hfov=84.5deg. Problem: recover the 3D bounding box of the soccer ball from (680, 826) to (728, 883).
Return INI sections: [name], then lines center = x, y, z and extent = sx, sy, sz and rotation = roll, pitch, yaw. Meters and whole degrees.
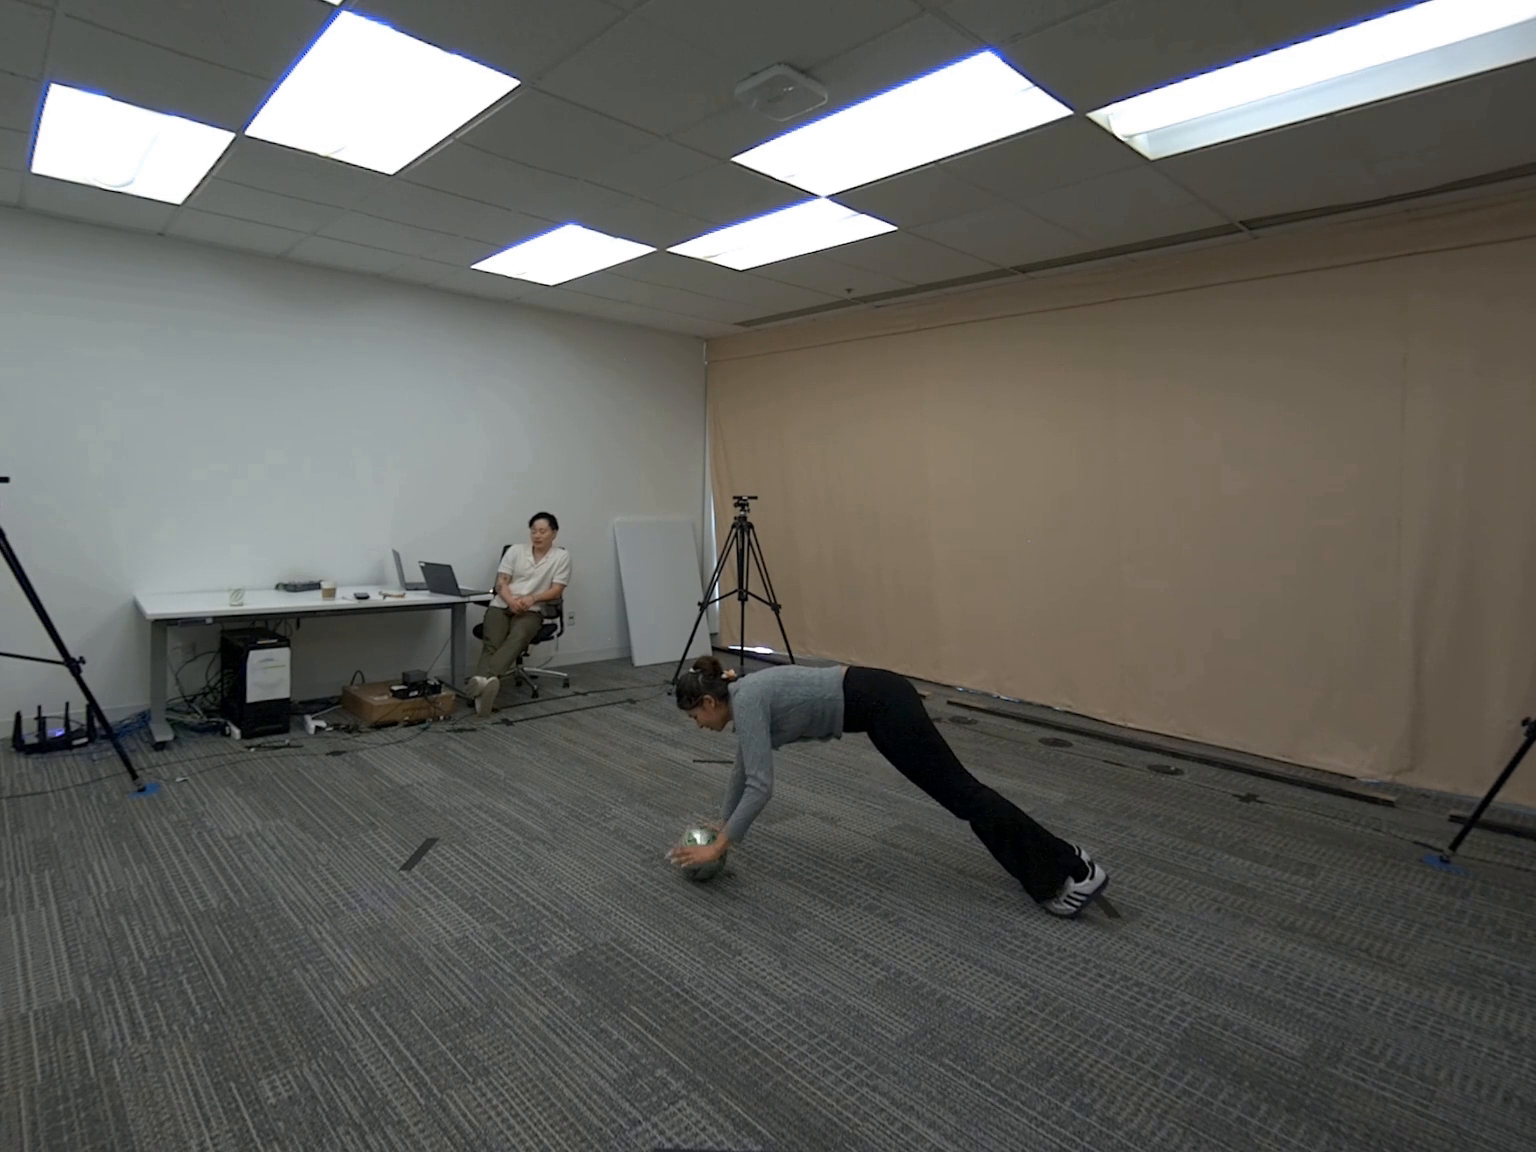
[soccer ball]
center = -0.248, 1.006, 3.072
extent = 0.187, 0.187, 0.188
rotation = 1, 4, -1
